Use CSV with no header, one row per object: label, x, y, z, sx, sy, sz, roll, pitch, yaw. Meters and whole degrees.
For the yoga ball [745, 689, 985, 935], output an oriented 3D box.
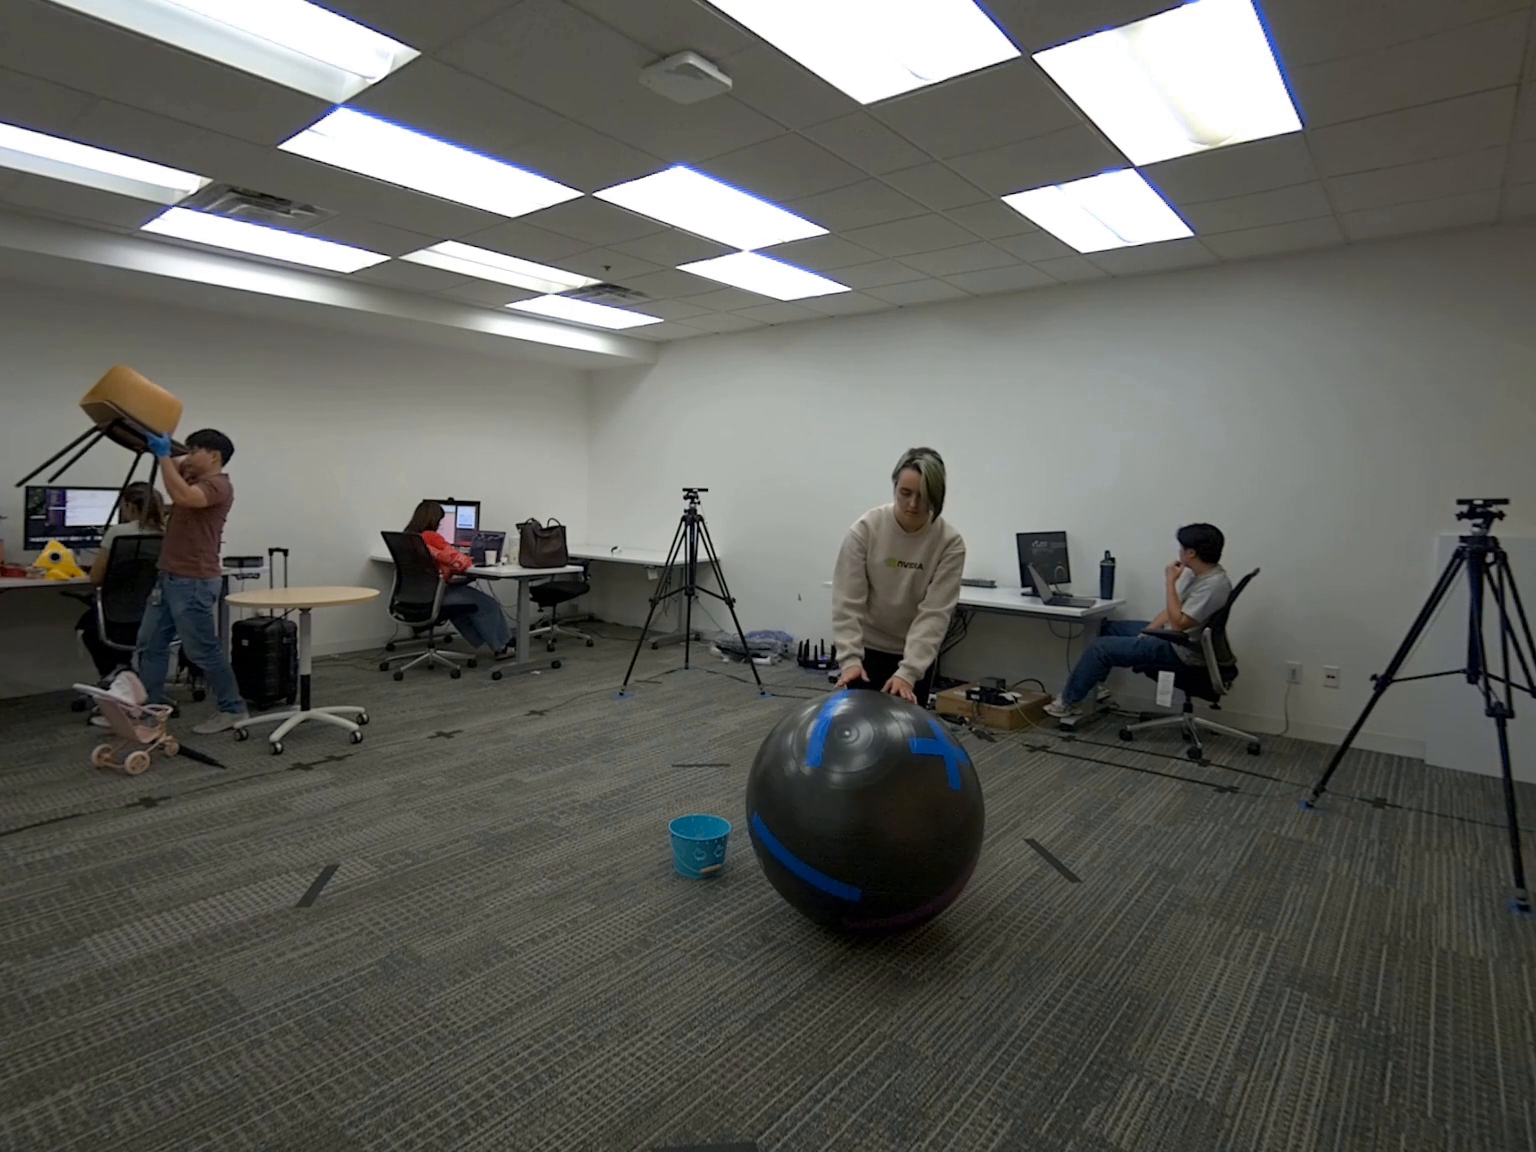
yoga ball,0.306,0.758,2.745,0.757,0.755,0.762,1,4,-2
